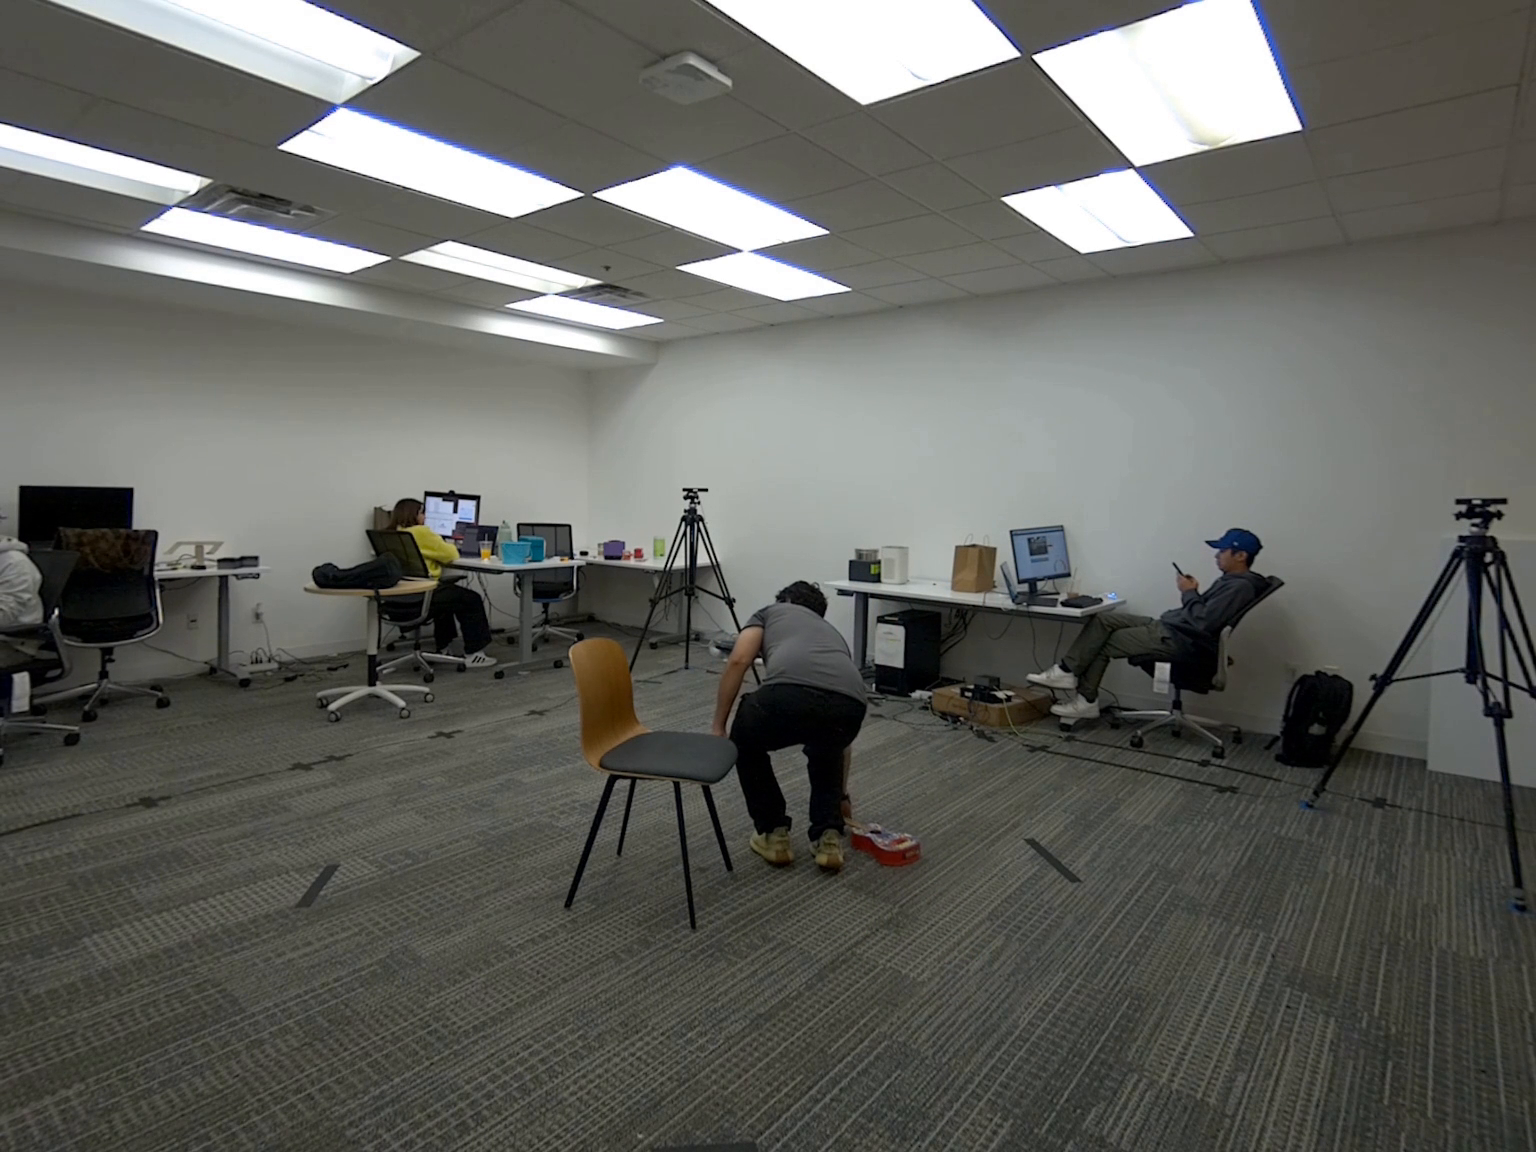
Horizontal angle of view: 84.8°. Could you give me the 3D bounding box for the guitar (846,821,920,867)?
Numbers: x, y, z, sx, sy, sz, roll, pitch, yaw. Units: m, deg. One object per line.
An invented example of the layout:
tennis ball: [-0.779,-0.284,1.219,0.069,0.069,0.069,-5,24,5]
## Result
guitar: [0.387,1.026,3.406,0.188,0.070,0.513,-4,7,-32]
